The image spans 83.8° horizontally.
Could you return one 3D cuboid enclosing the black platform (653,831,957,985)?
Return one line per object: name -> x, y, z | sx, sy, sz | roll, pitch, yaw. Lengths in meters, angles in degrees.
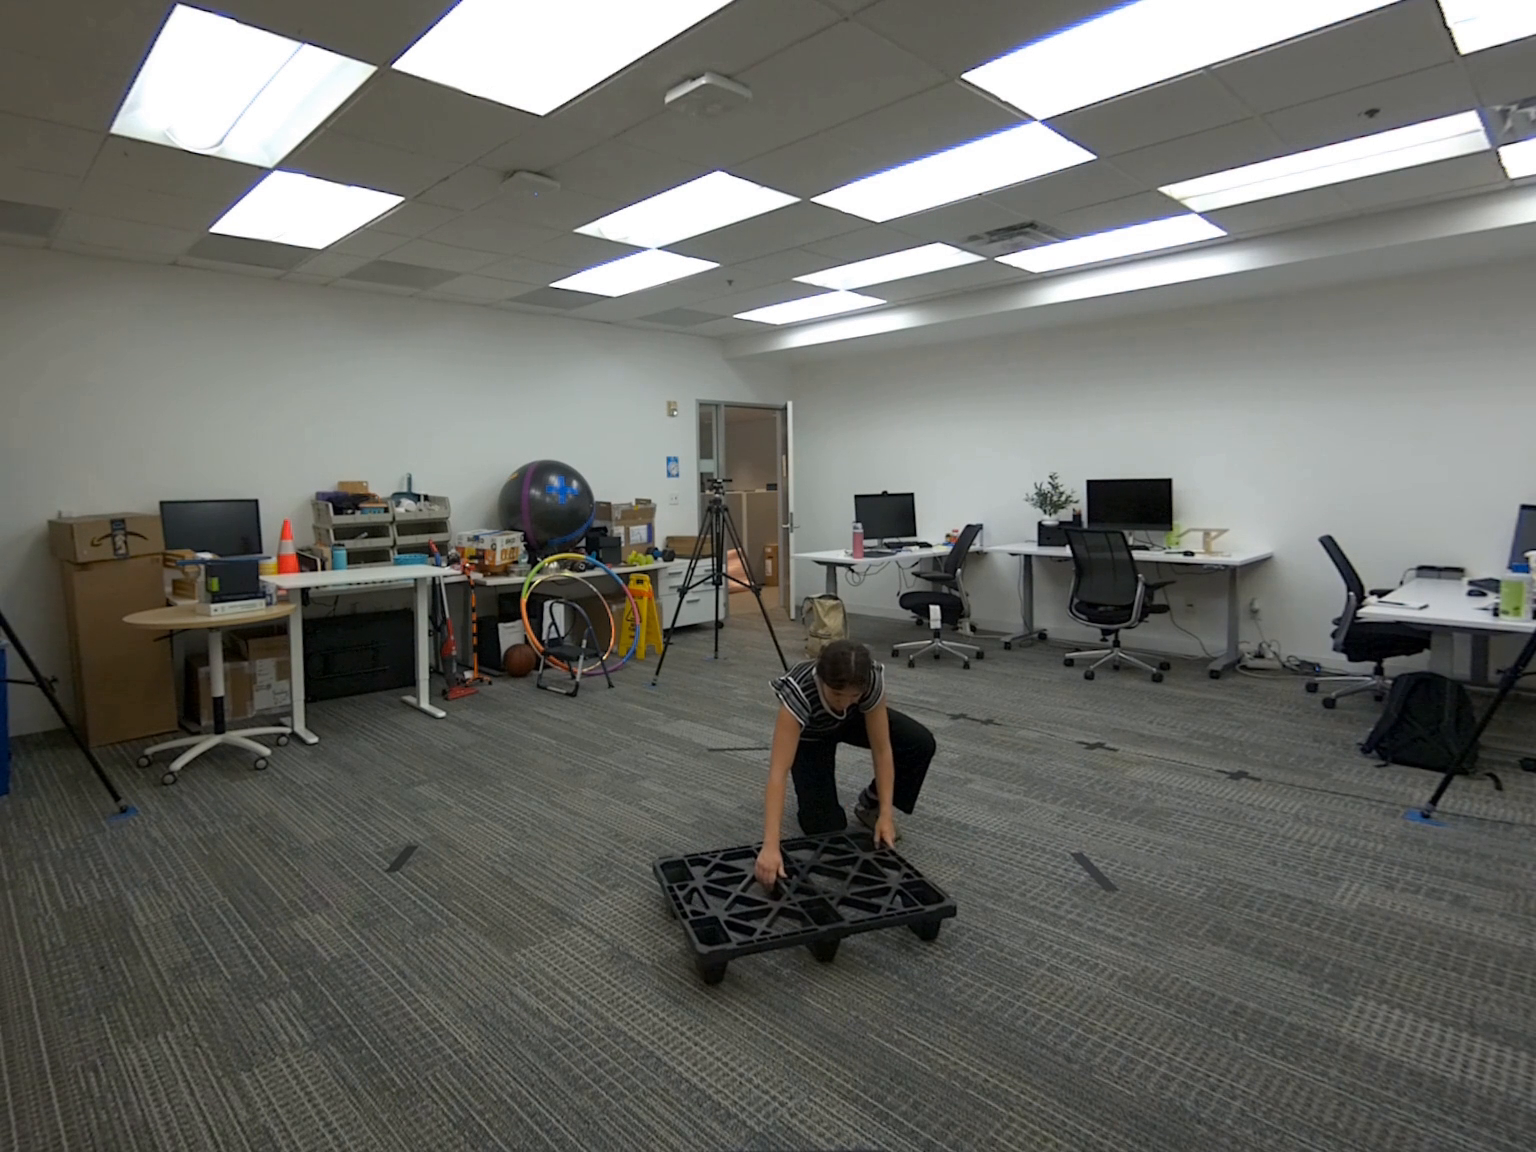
black platform -> 0.086, 1.024, 2.691 | 0.793, 0.143, 0.618 | -3, 6, -18
